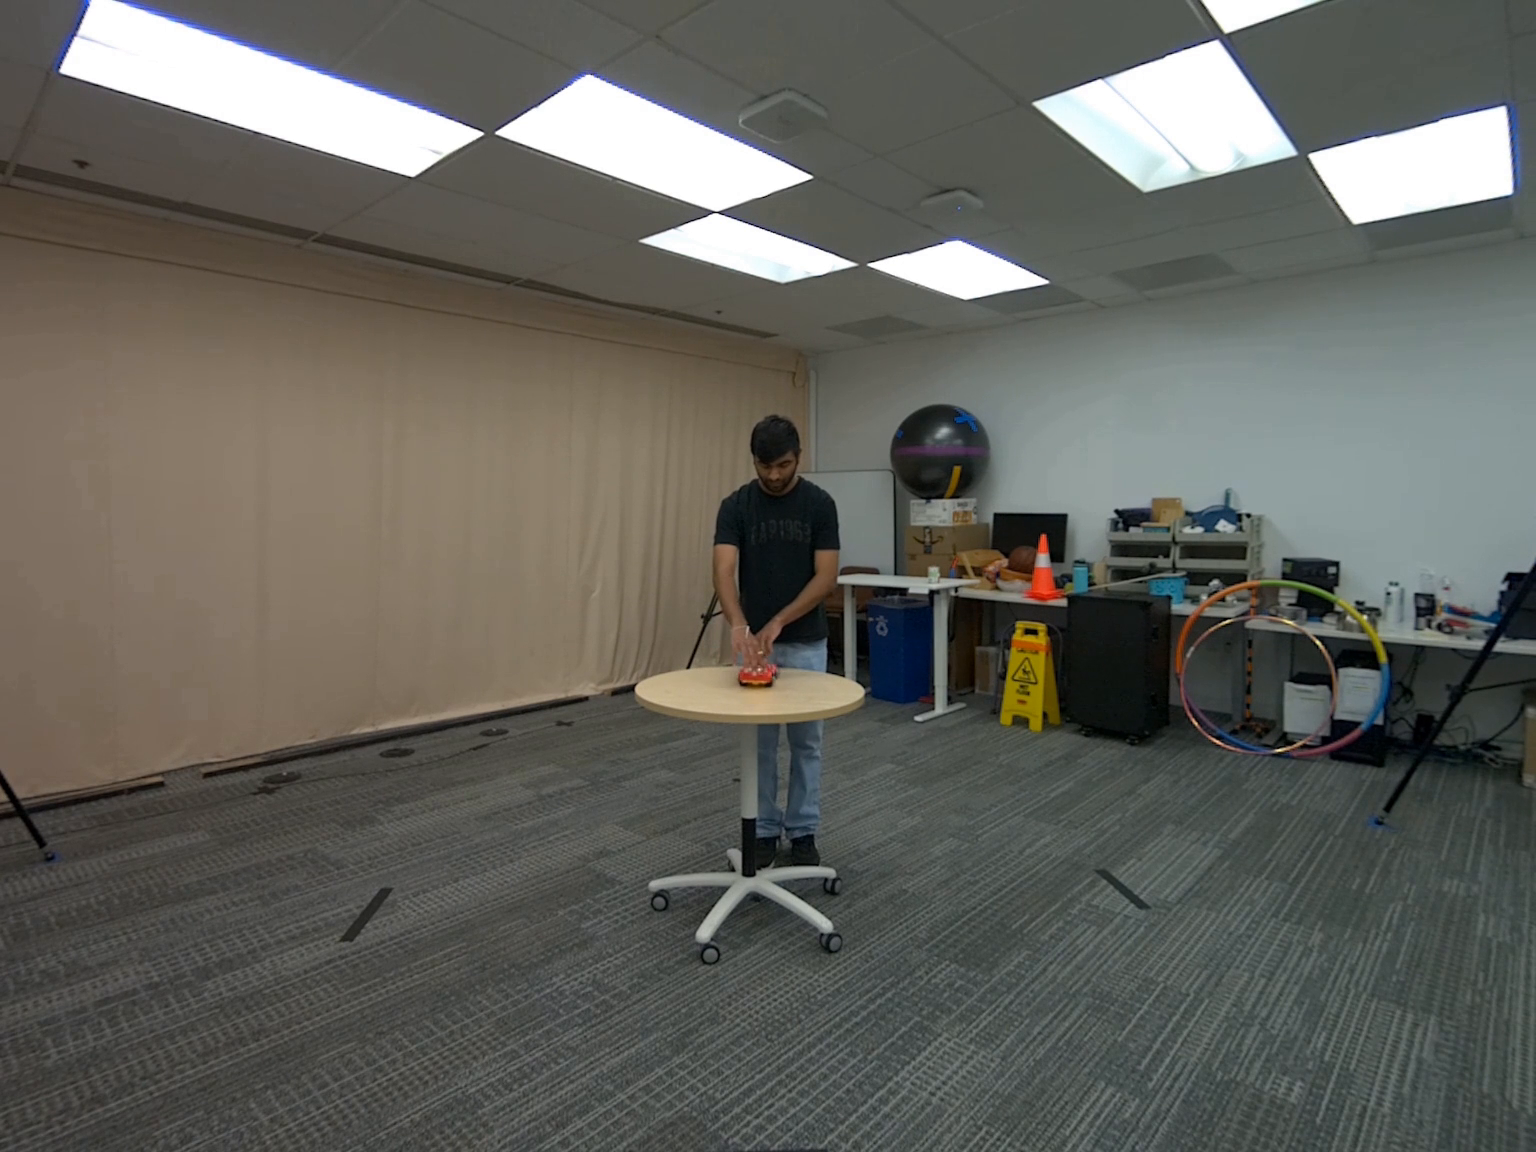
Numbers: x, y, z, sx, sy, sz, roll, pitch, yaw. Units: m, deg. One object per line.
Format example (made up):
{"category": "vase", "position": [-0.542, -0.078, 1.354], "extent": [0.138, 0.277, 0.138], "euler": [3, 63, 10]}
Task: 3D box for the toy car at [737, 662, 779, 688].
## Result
{"category": "toy car", "position": [-0.038, 0.336, 2.897], "extent": [0.131, 0.083, 0.251], "euler": [1, -6, 6]}
